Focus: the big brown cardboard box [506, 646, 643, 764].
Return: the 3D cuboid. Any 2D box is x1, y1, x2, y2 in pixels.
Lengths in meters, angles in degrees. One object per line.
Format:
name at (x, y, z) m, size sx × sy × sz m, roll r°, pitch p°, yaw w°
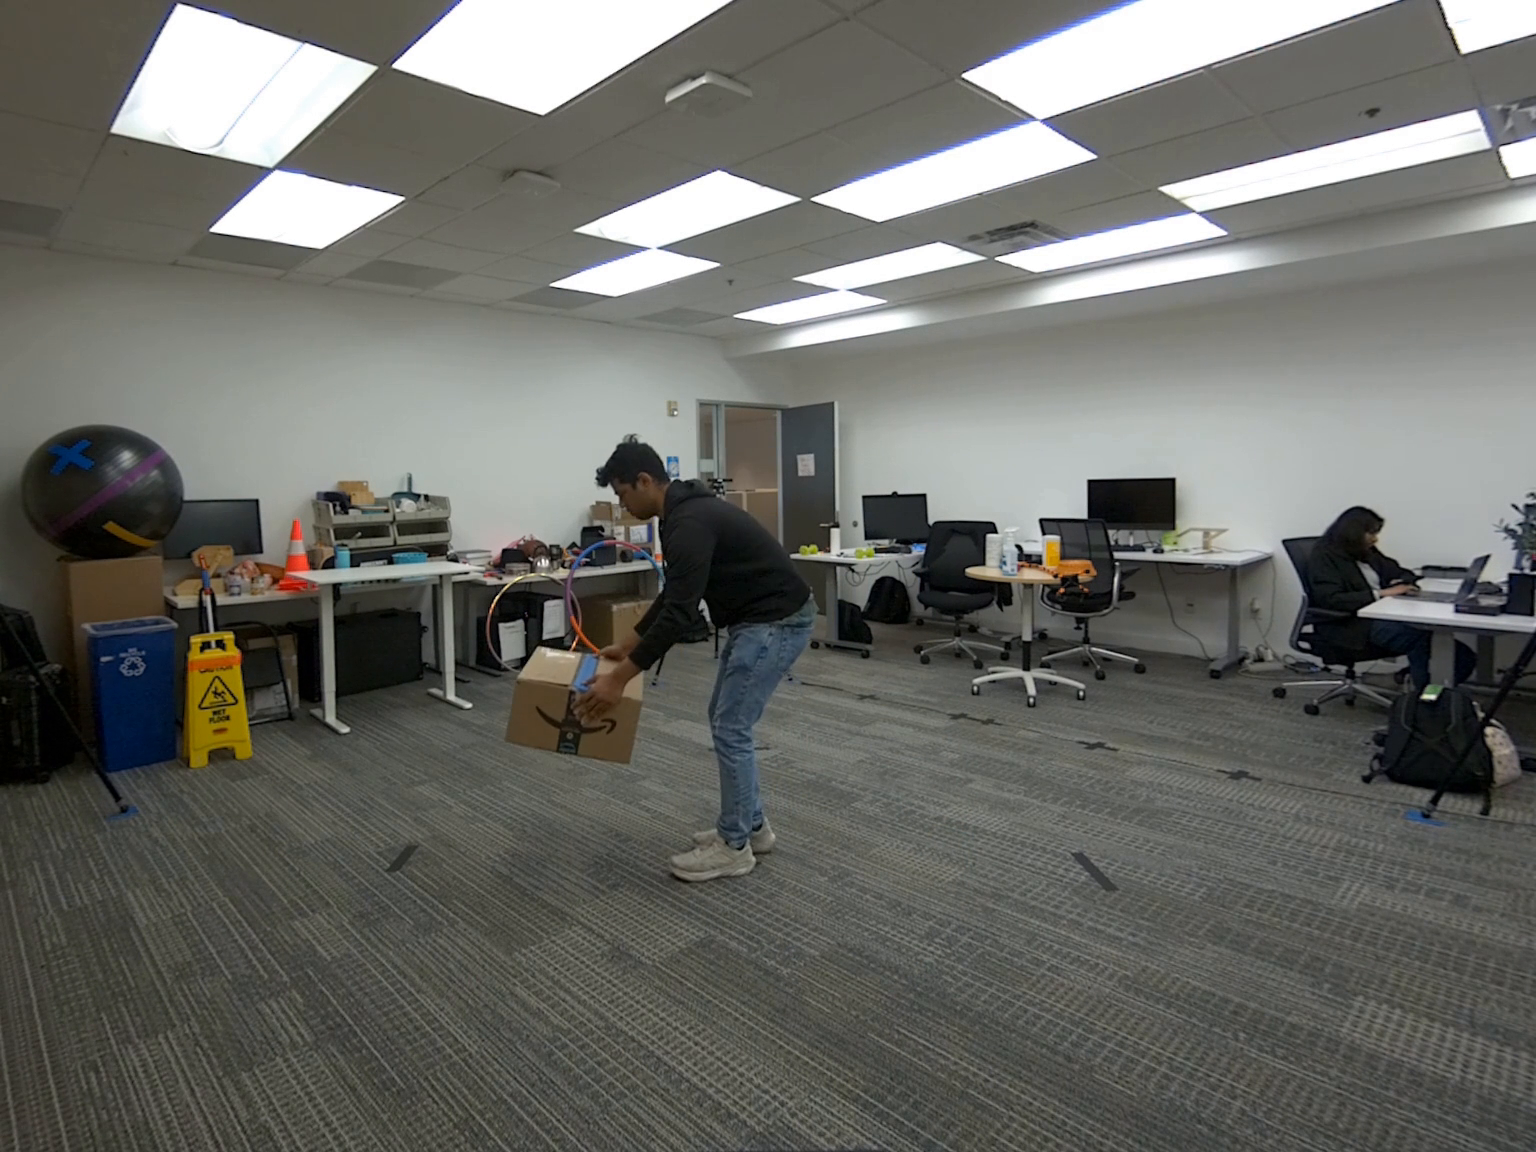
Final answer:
big brown cardboard box at (-0.667, 0.444, 3.062) m, size 0.414 × 0.232 × 0.595 m, roll 11°, pitch 4°, yaw -8°
